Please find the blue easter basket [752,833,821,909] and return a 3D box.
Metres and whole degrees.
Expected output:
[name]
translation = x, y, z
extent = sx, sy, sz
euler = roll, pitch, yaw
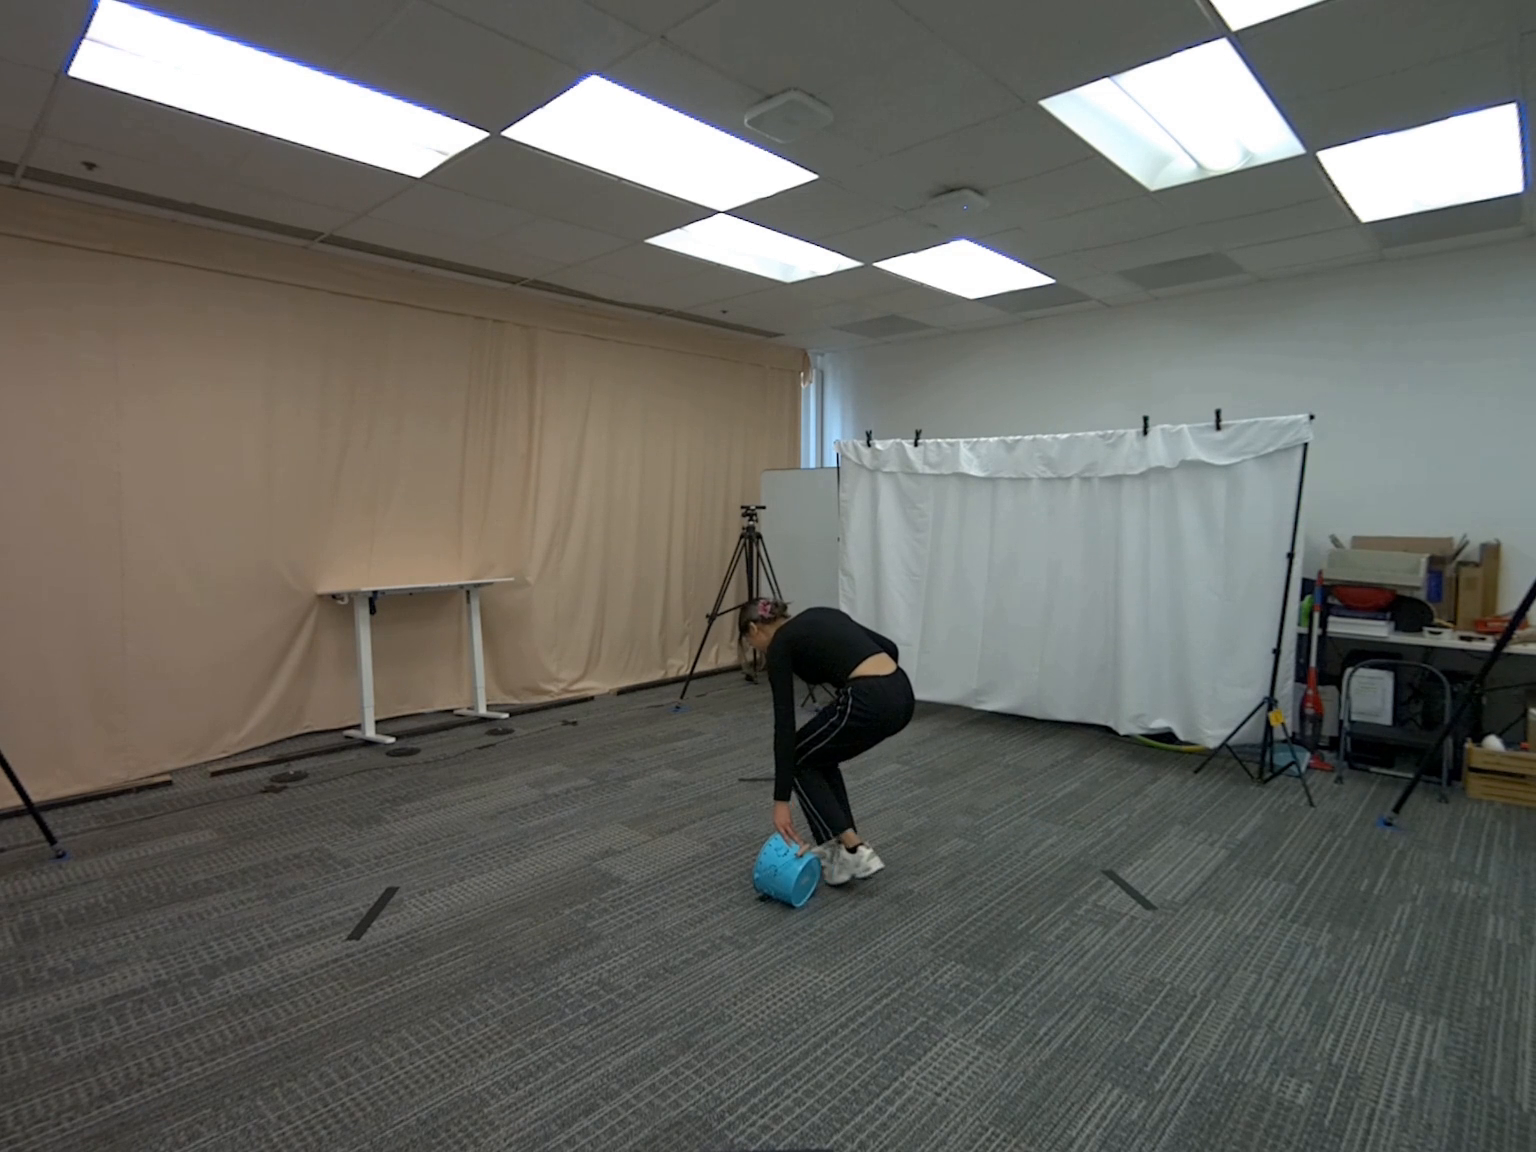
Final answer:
[blue easter basket]
translation = 0.071, 1.034, 2.968
extent = 0.161, 0.242, 0.236
euler = 17, 13, 35
